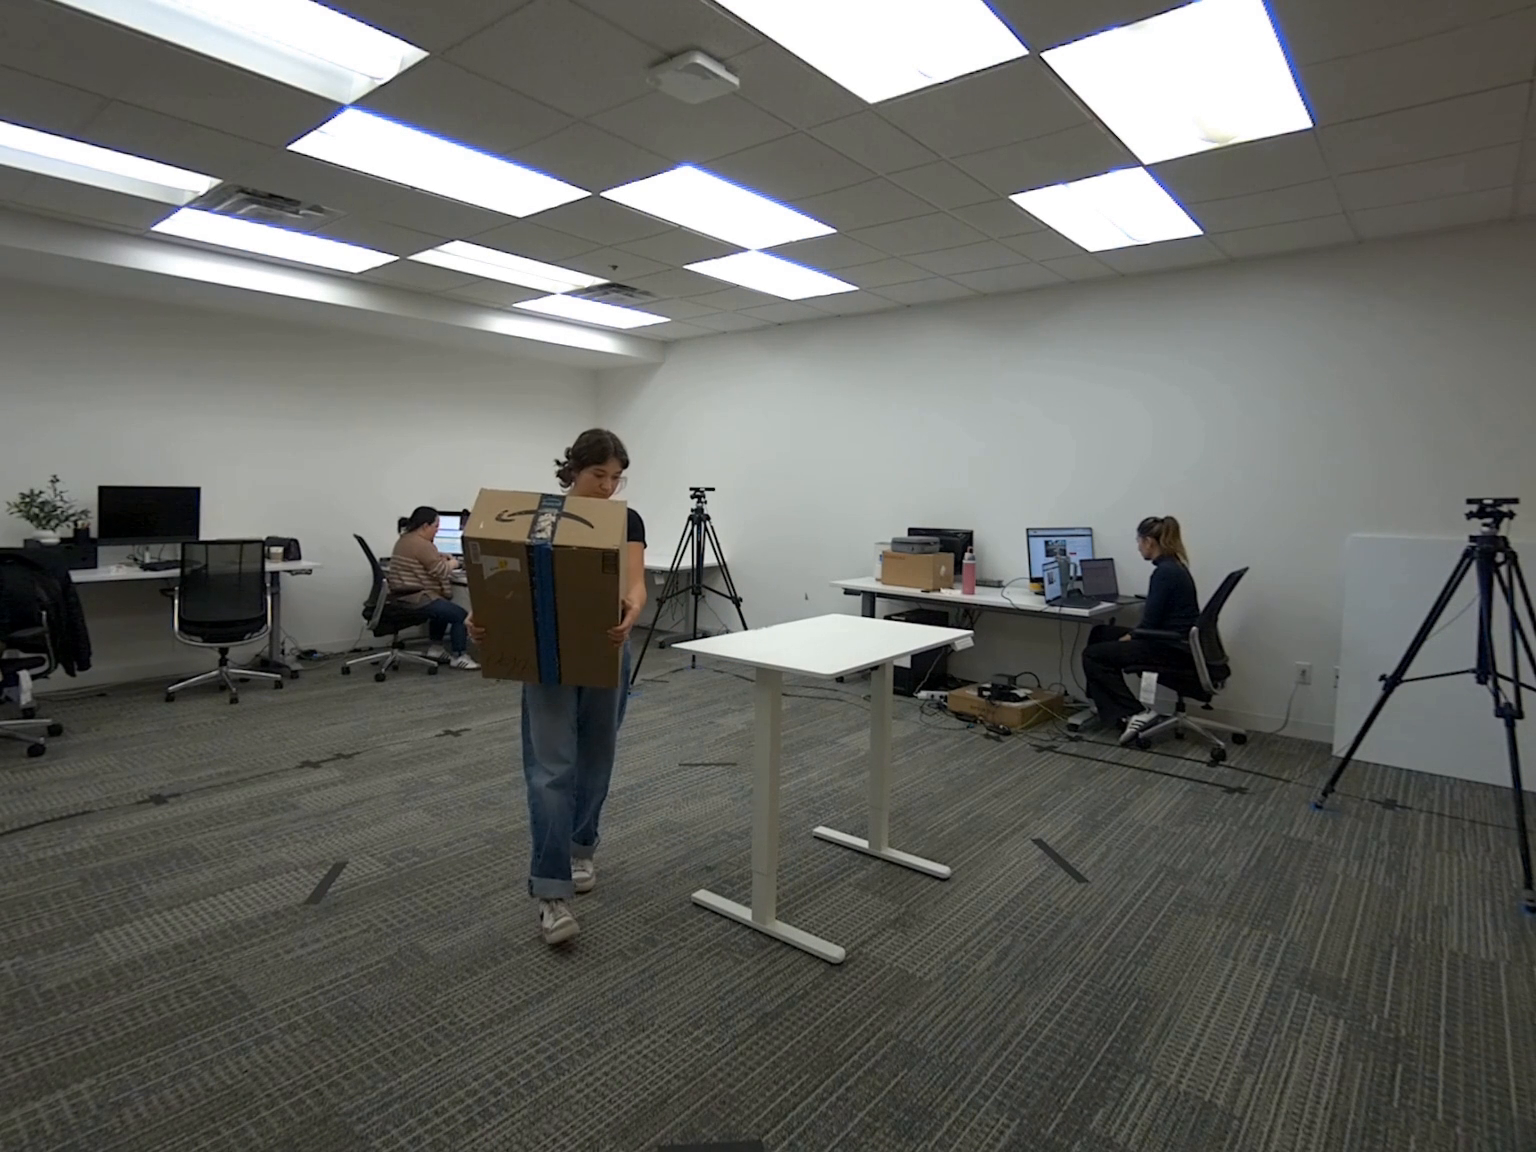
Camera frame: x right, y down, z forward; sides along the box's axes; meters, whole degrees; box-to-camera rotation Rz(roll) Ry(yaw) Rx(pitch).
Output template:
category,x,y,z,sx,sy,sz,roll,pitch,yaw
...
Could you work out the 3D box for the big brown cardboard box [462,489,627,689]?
category,x,y,z,sx,sy,sz,roll,pitch,yaw
big brown cardboard box,-0.644,0.041,2.467,0.417,0.574,0.239,5,41,-3
